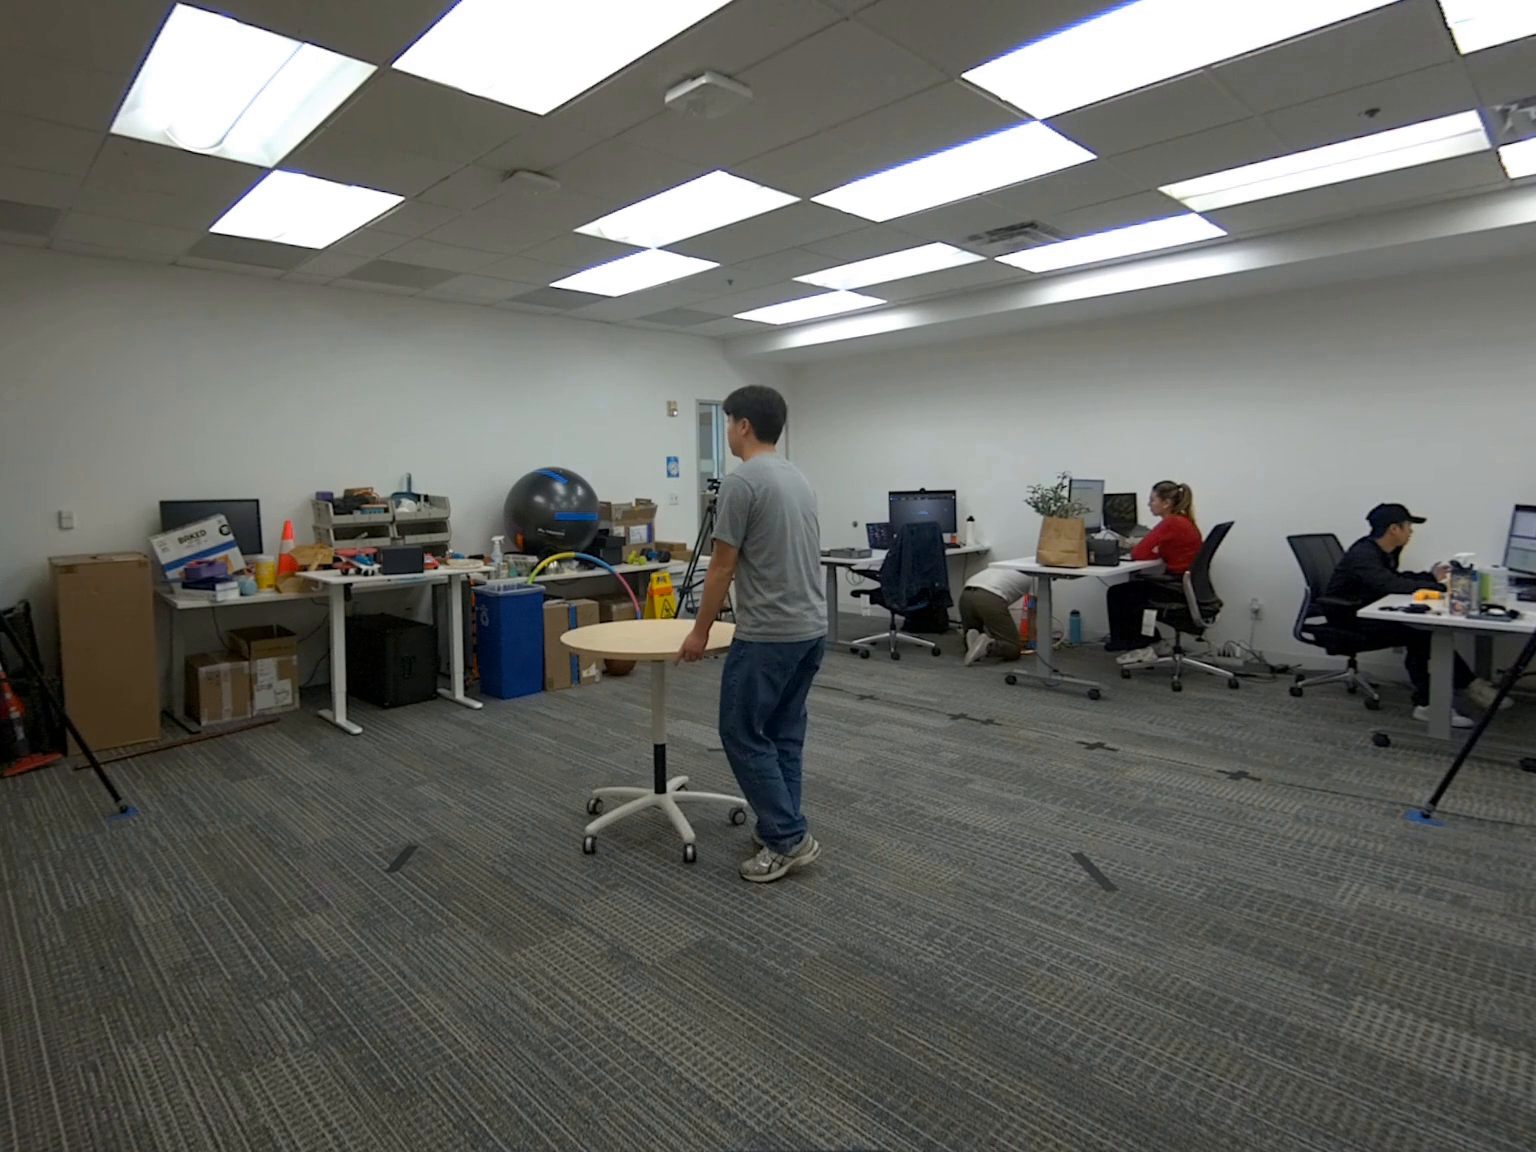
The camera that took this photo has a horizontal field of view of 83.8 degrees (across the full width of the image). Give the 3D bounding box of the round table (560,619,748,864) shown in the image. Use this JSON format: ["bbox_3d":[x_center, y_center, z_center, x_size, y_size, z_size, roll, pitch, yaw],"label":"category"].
[{"bbox_3d":[-0.433,0.624,3.436,0.763,0.791,0.767,-1,4,-2],"label":"round table"}]
